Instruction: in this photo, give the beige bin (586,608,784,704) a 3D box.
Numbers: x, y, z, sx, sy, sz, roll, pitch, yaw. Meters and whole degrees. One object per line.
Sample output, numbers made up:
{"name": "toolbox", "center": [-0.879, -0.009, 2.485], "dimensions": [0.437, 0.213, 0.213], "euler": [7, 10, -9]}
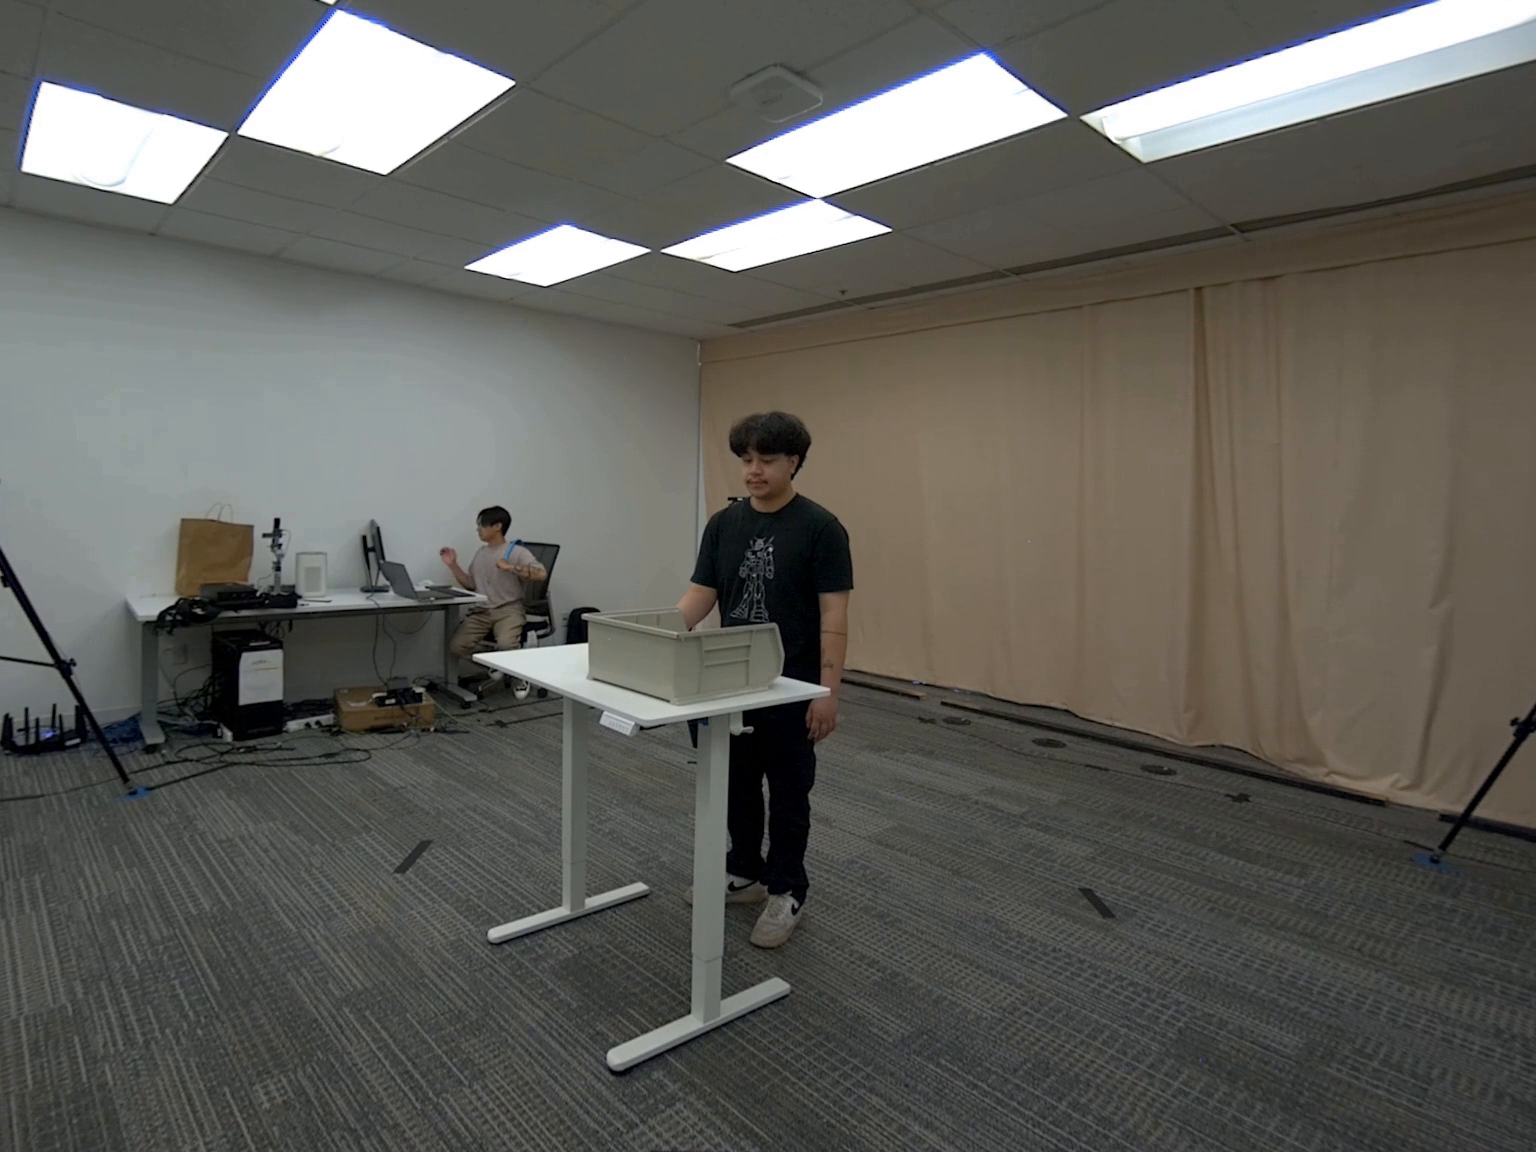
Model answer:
{"name": "beige bin", "center": [-0.246, 0.212, 2.288], "dimensions": [0.369, 0.188, 0.433], "euler": [-3, 6, -43]}
